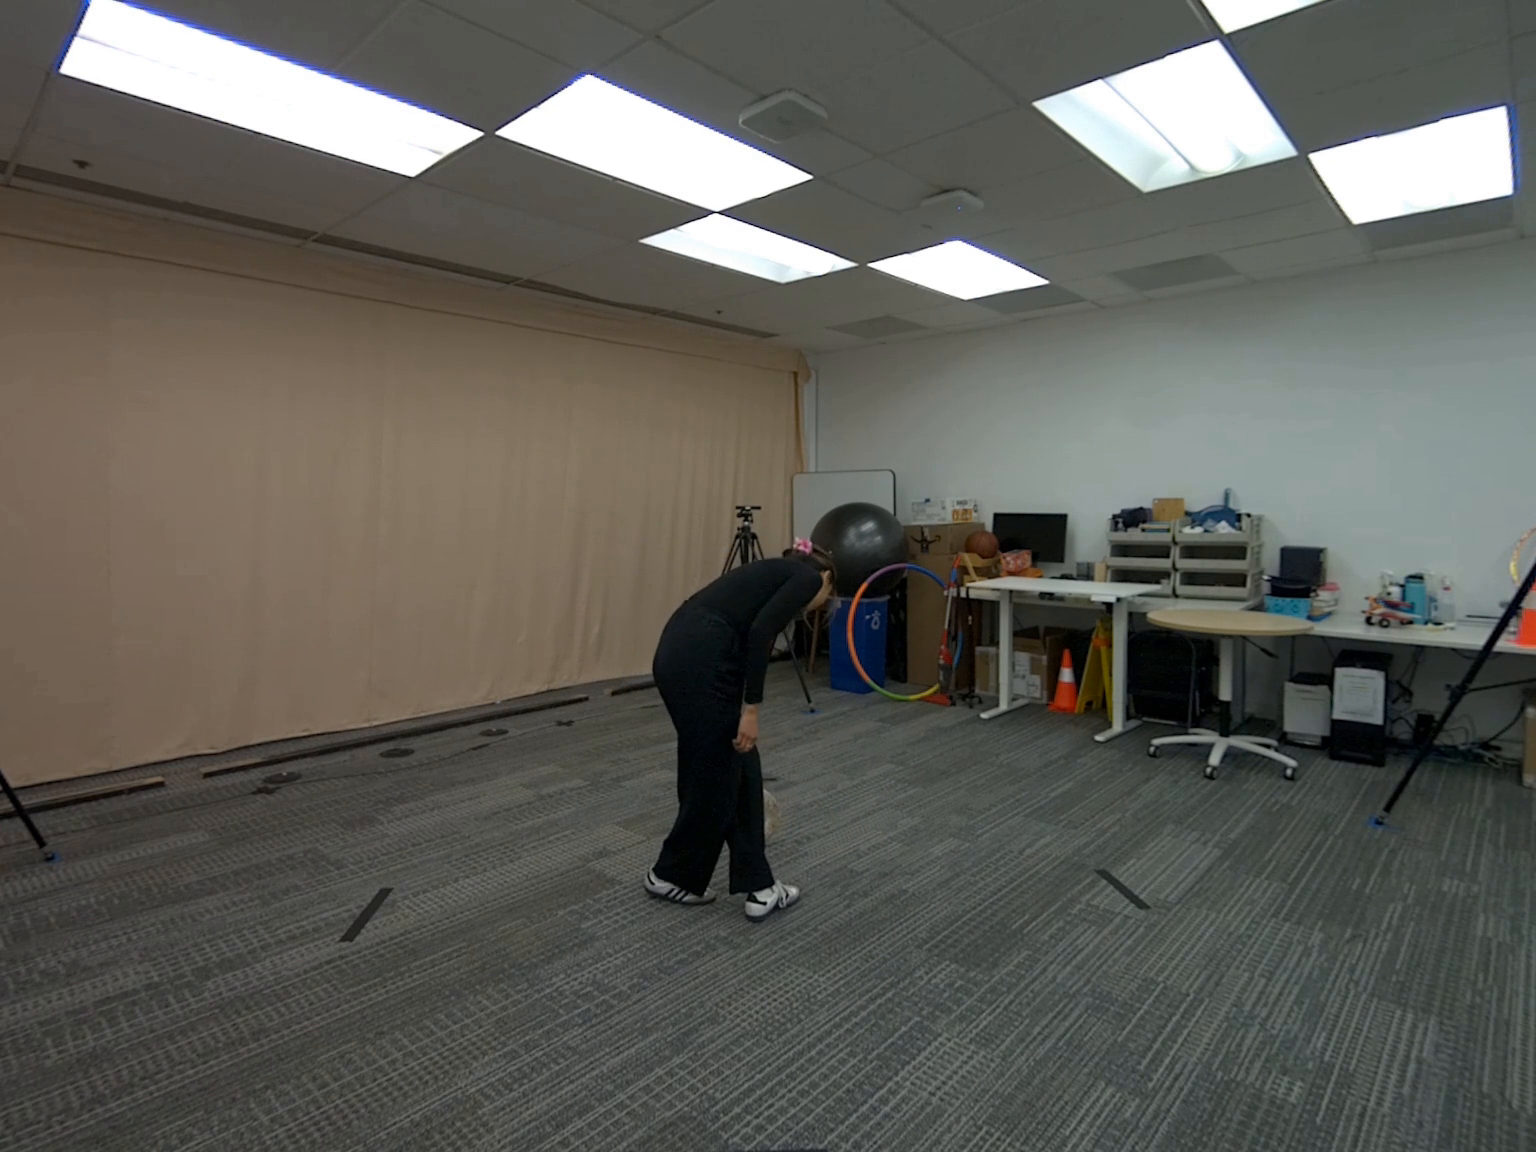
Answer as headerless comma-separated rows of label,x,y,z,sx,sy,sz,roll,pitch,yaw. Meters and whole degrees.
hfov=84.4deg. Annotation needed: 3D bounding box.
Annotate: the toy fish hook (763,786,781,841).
toy fish hook,-0.098,0.894,3.346,0.050,0.492,0.223,1,43,44
